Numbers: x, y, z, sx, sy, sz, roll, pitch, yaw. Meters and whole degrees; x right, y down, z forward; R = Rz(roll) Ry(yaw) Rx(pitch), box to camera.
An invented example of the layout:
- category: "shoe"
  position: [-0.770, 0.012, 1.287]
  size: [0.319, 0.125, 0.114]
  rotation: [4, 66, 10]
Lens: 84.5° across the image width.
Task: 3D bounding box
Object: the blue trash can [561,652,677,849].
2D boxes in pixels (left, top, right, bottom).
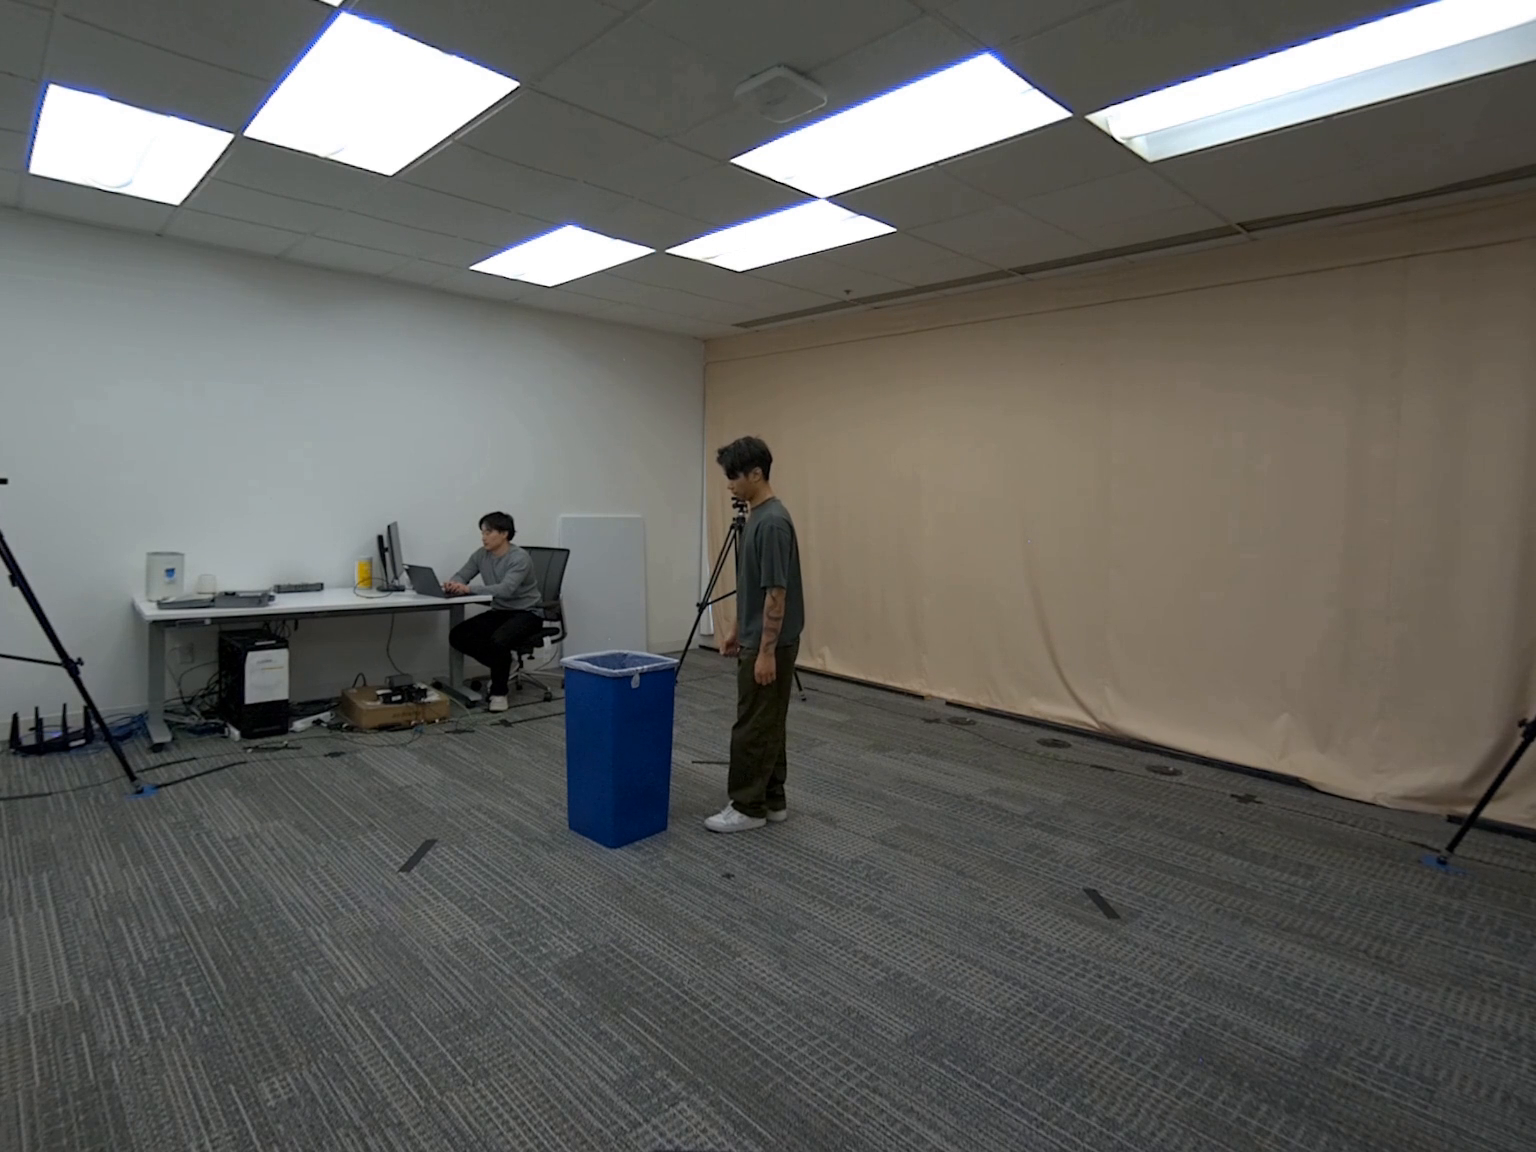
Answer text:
- category: "blue trash can"
  position: [-0.630, 0.705, 3.496]
  size: [0.387, 0.712, 0.365]
  rotation: [3, 3, 41]
